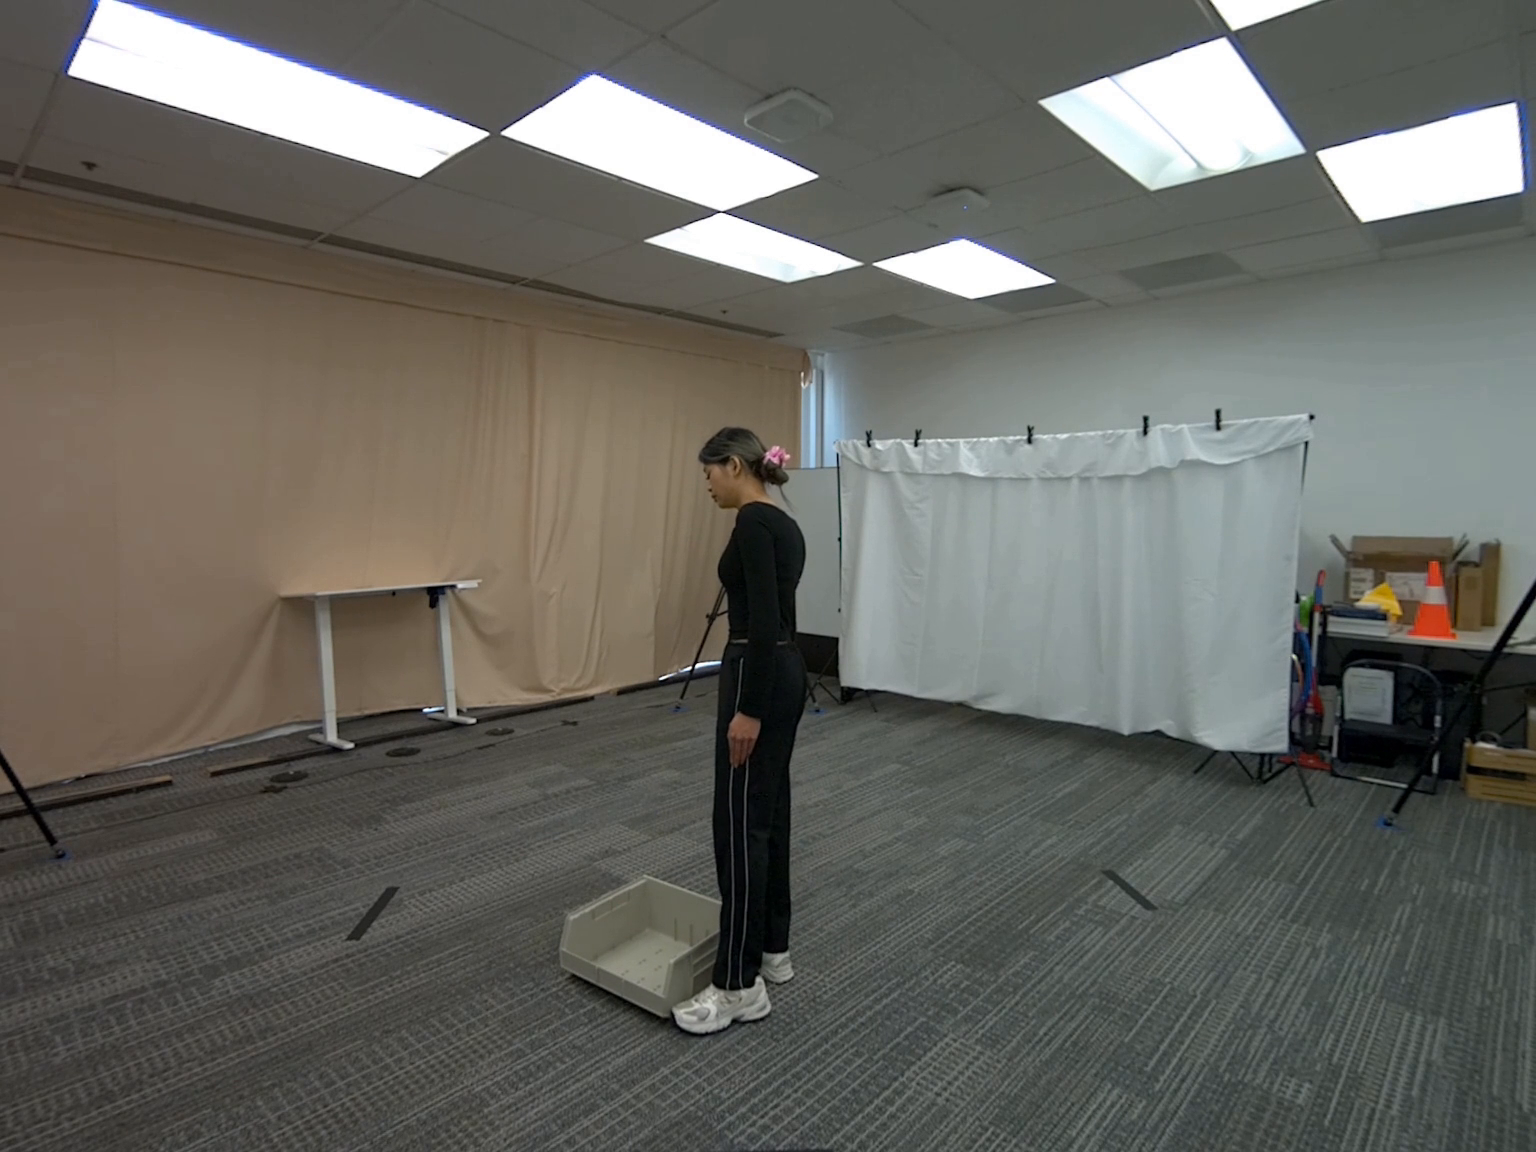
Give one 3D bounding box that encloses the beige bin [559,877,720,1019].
[{"bbox_3d":[-0.337,1.097,2.499,0.436,0.189,0.366,2,4,35],"label":"beige bin"}]
